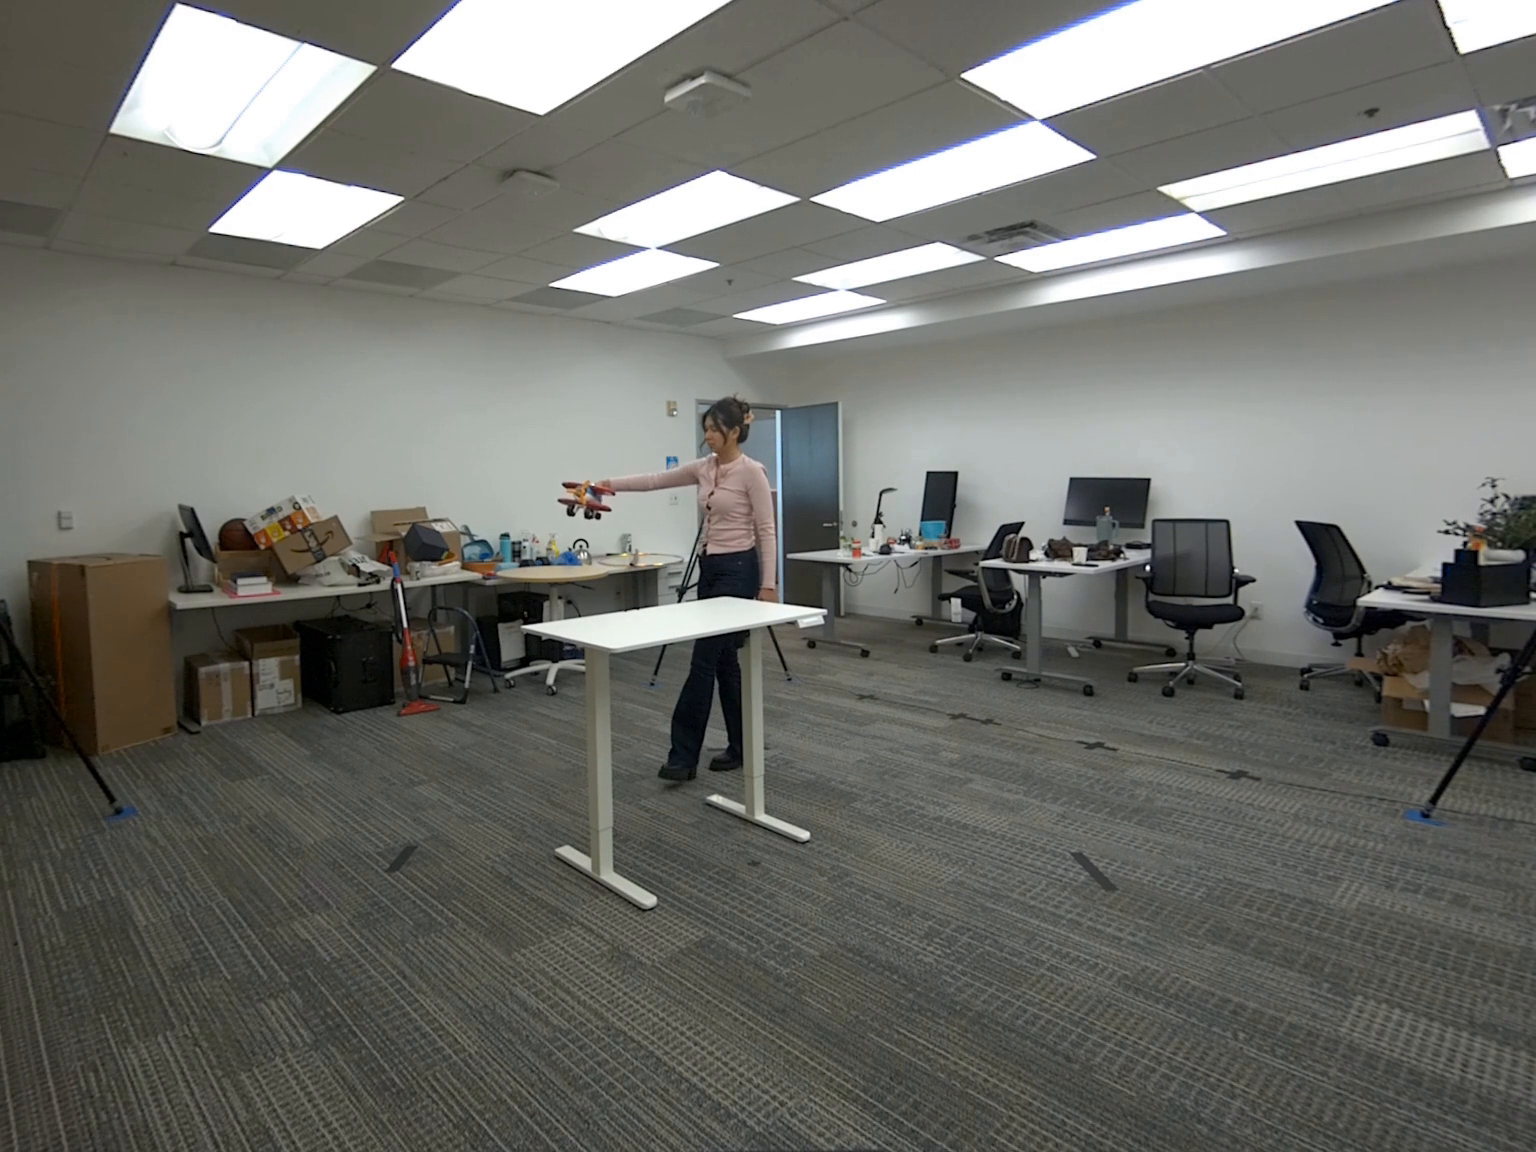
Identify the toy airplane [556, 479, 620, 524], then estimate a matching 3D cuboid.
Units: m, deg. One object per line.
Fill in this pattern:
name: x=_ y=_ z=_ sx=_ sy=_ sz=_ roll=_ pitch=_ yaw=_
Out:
toy airplane: x=-0.831 y=-0.345 z=3.927 sx=0.247 sy=0.156 sz=0.263 roll=9 pitch=3 yaw=-14
